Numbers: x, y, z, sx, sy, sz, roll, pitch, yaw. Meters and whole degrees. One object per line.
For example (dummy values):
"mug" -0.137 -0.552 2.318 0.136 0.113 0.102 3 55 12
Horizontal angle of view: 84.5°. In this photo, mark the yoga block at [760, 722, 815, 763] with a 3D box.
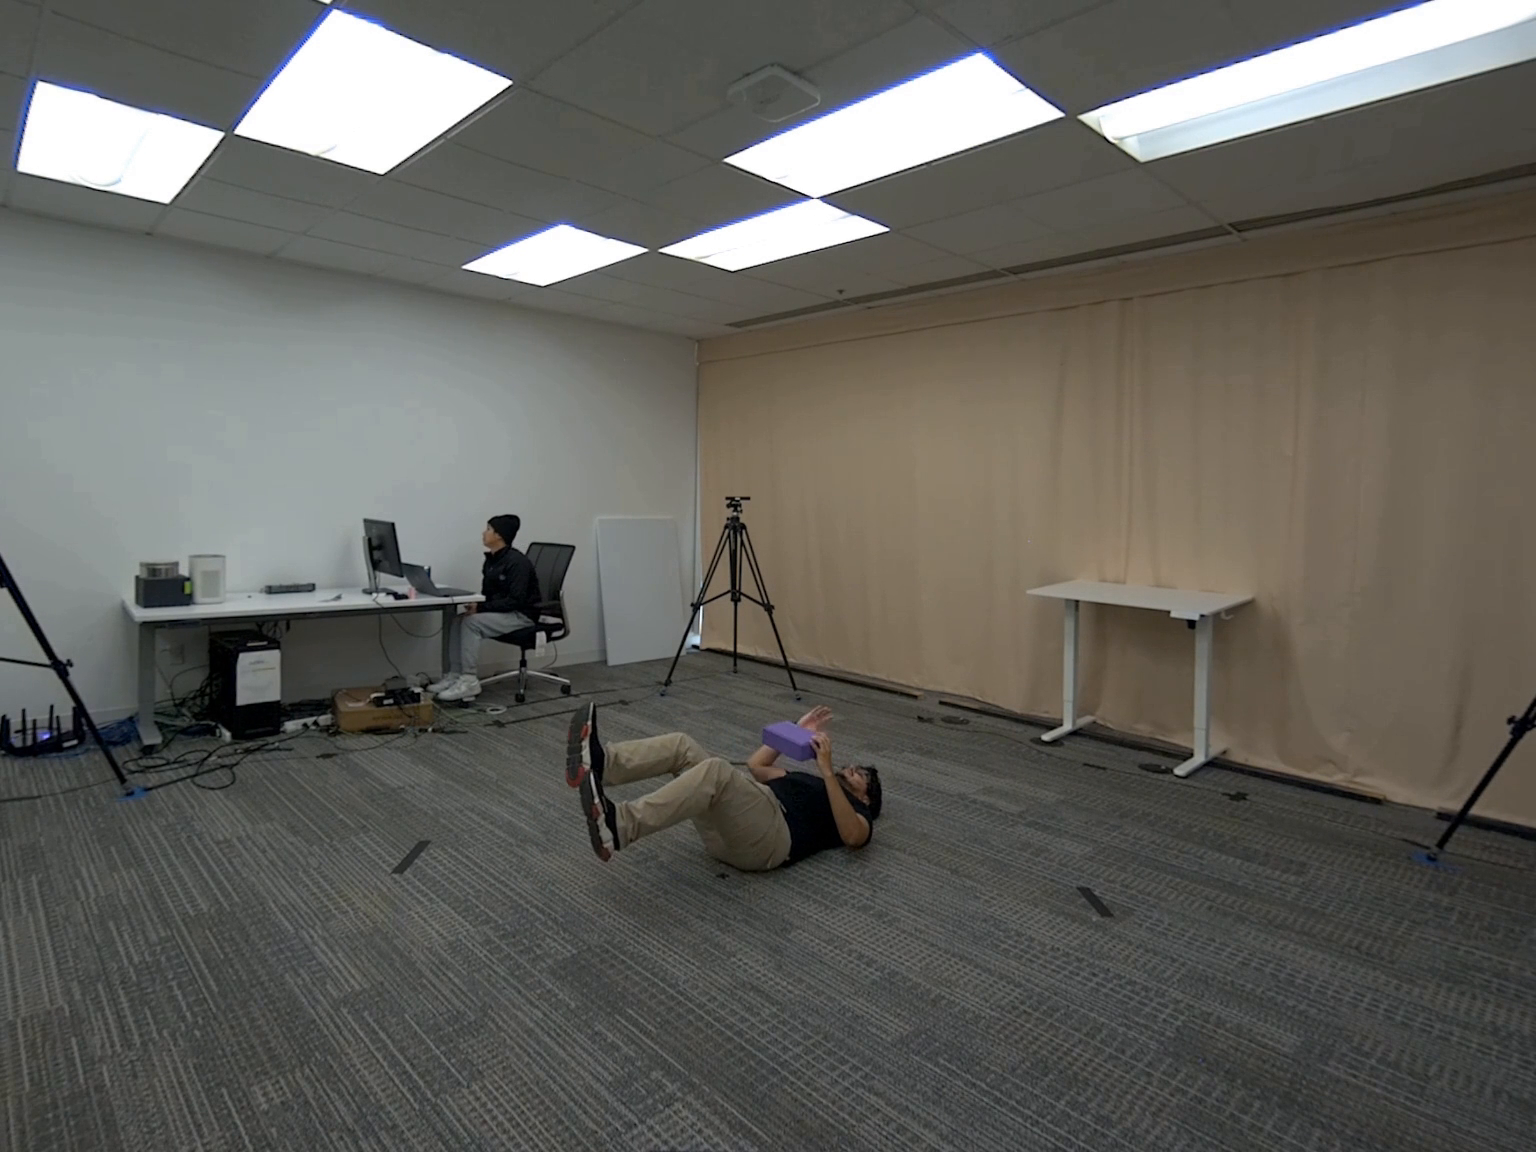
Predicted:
"yoga block" 0.095 0.661 3.383 0.146 0.076 0.236 -4 13 -43
